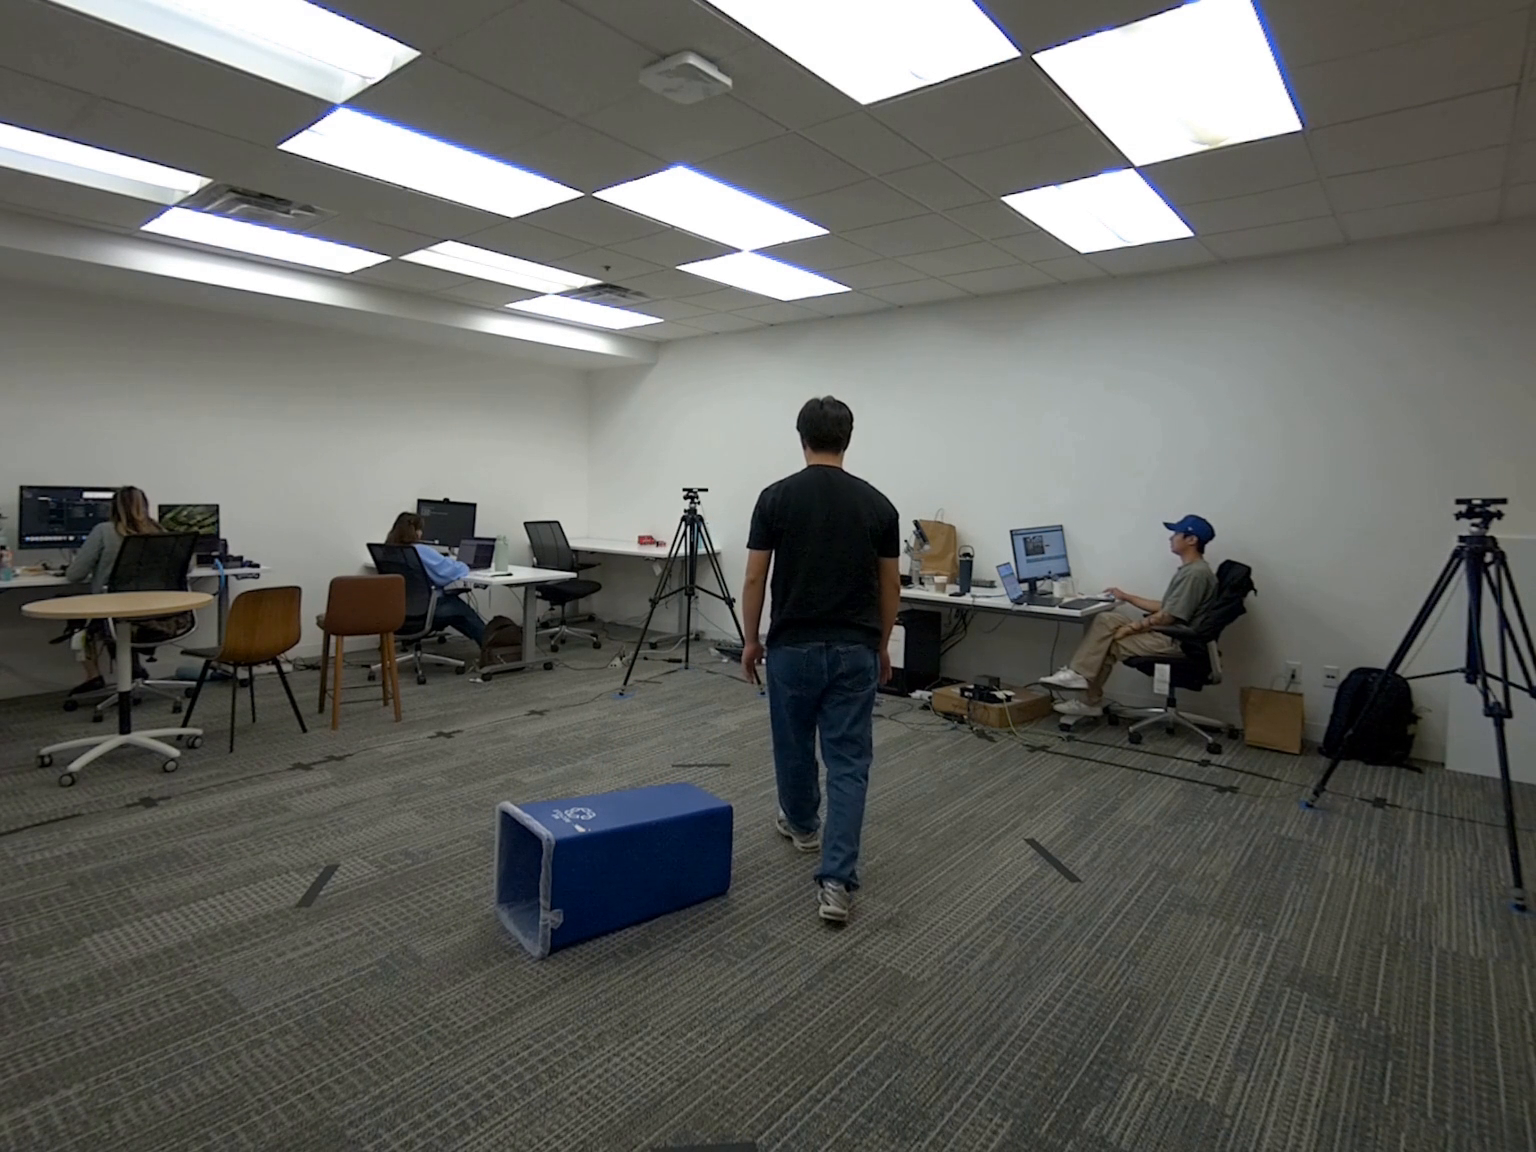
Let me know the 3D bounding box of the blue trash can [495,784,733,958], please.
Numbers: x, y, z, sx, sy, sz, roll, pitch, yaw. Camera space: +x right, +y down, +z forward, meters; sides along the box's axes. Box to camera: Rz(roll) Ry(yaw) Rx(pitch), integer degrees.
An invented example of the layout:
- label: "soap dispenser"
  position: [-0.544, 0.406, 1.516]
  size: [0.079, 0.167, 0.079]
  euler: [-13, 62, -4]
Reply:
- label: "blue trash can"
  position: [-0.508, 0.926, 2.828]
  size: [0.691, 0.377, 0.387]
  euler: [1, 3, -38]
